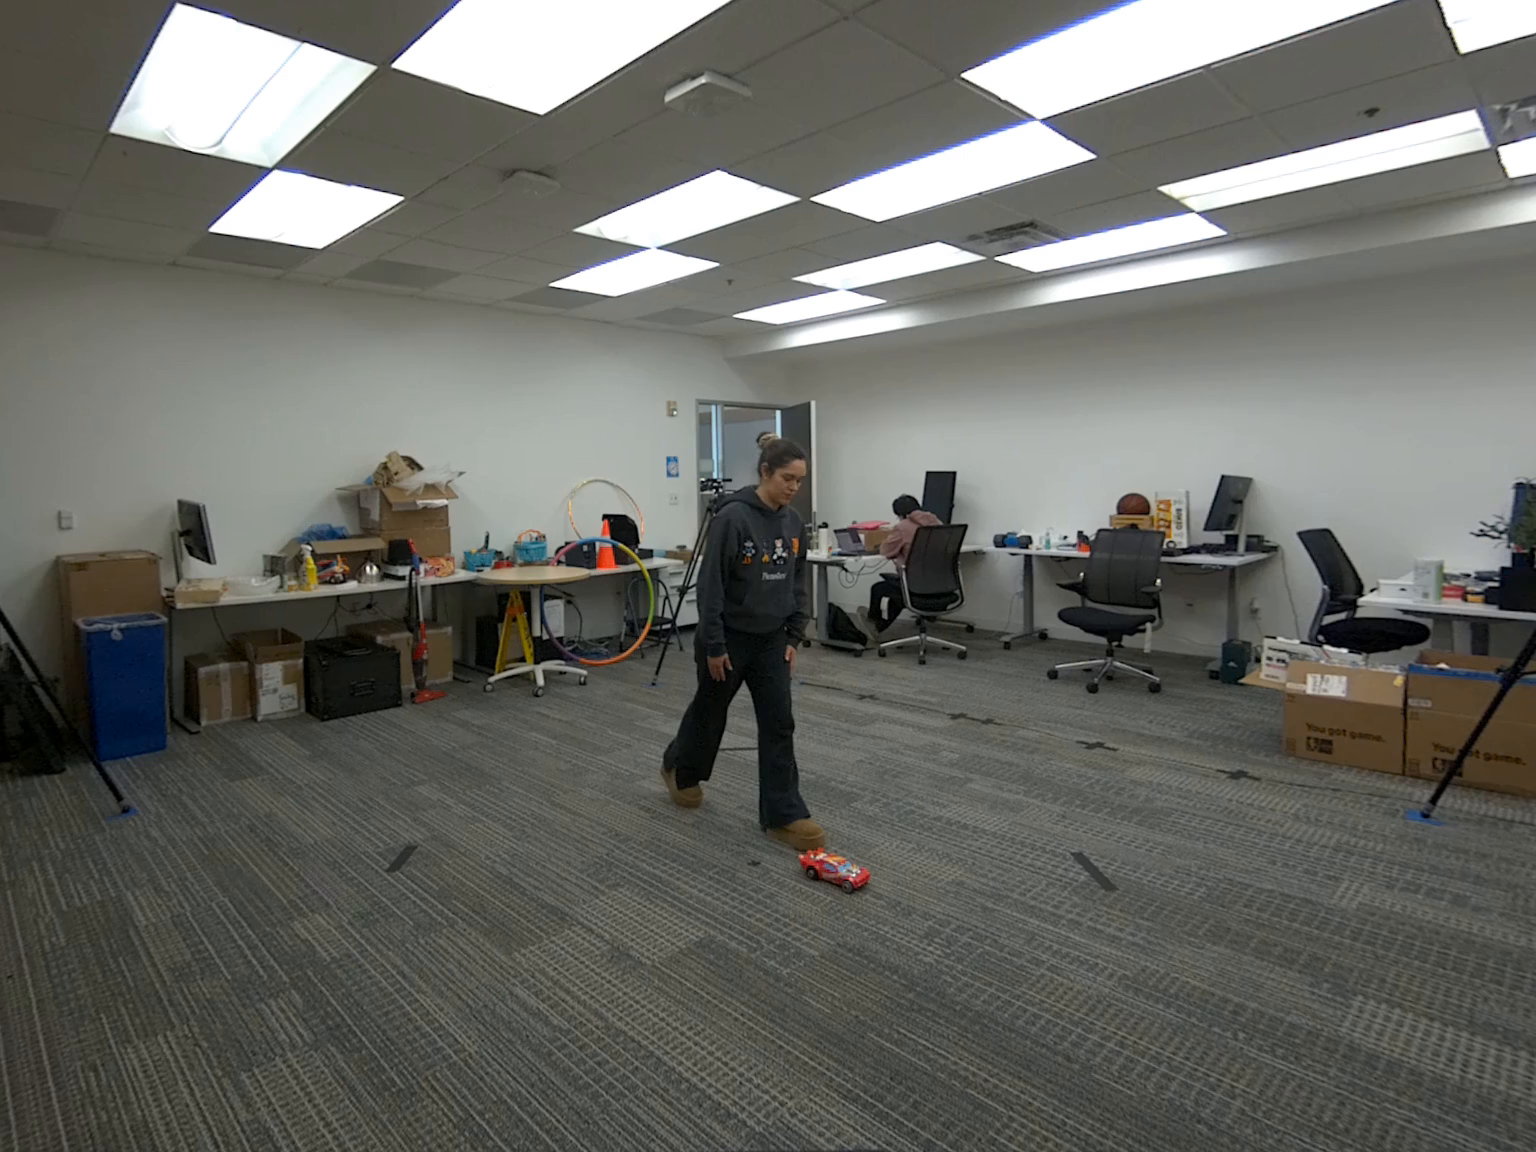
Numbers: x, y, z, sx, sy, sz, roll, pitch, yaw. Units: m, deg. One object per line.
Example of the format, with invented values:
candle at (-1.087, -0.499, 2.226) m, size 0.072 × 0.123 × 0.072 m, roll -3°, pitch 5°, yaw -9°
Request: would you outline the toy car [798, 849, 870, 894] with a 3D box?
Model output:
toy car at (0.228, 1.022, 2.956) m, size 0.263 × 0.082 × 0.127 m, roll 18°, pitch 16°, yaw 39°
